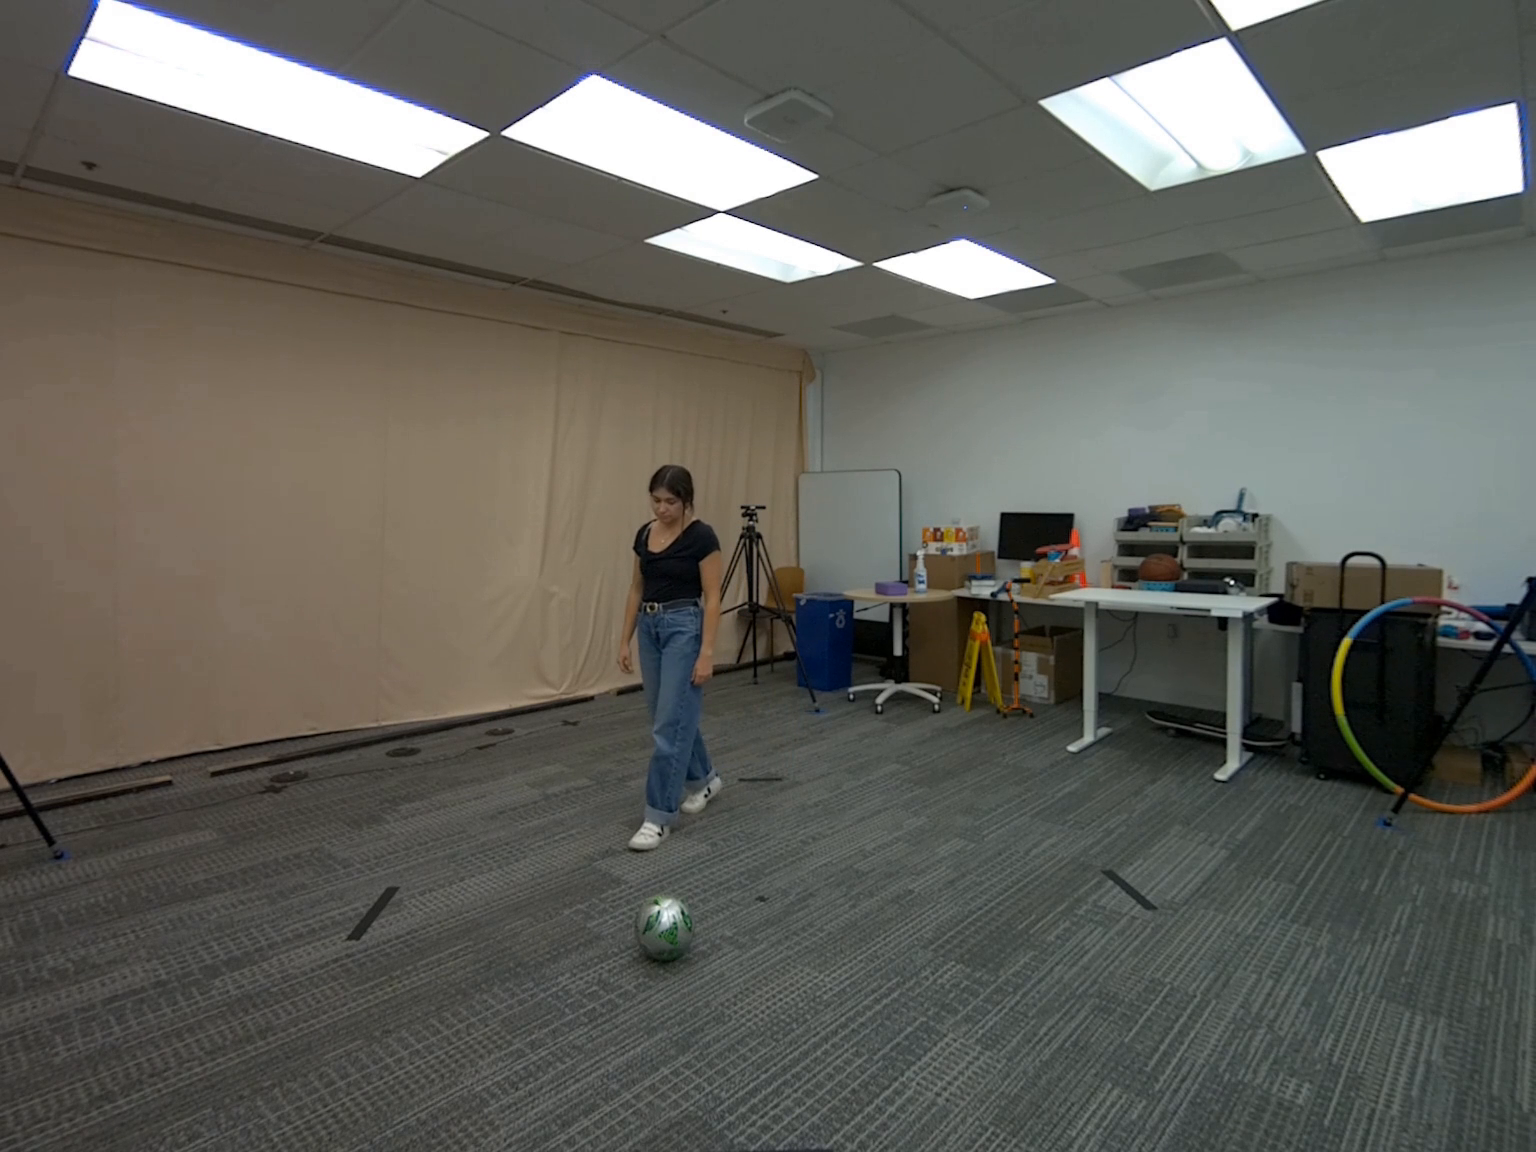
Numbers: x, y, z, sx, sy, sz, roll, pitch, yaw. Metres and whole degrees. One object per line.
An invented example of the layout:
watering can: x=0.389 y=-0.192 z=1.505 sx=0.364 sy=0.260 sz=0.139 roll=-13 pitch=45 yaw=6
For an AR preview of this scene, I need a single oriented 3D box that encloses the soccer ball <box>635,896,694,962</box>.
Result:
soccer ball: x=-0.311 y=1.082 z=2.598 sx=0.187 sy=0.187 sz=0.188 roll=0 pitch=4 yaw=-2
